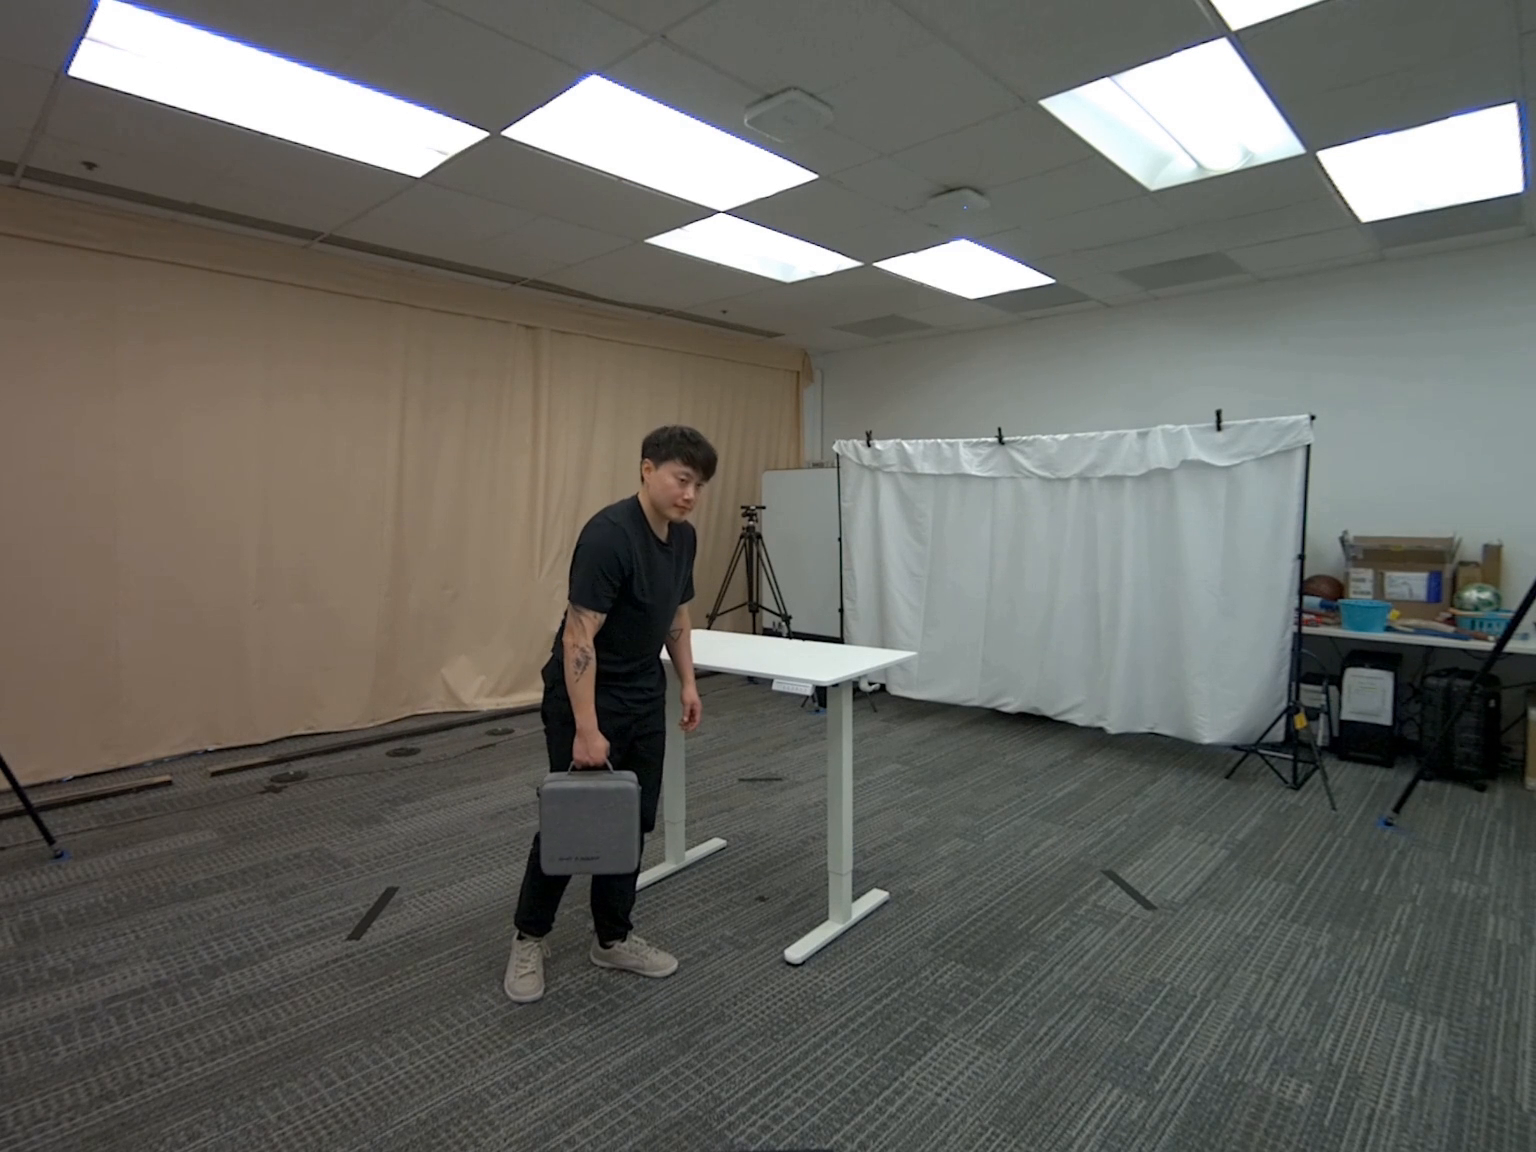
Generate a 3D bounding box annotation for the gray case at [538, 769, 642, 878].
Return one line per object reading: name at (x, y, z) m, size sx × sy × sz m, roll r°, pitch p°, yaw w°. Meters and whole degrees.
gray case at (-0.470, 0.639, 2.194) m, size 0.256 × 0.259 × 0.105 m, roll 2°, pitch 6°, yaw -4°
